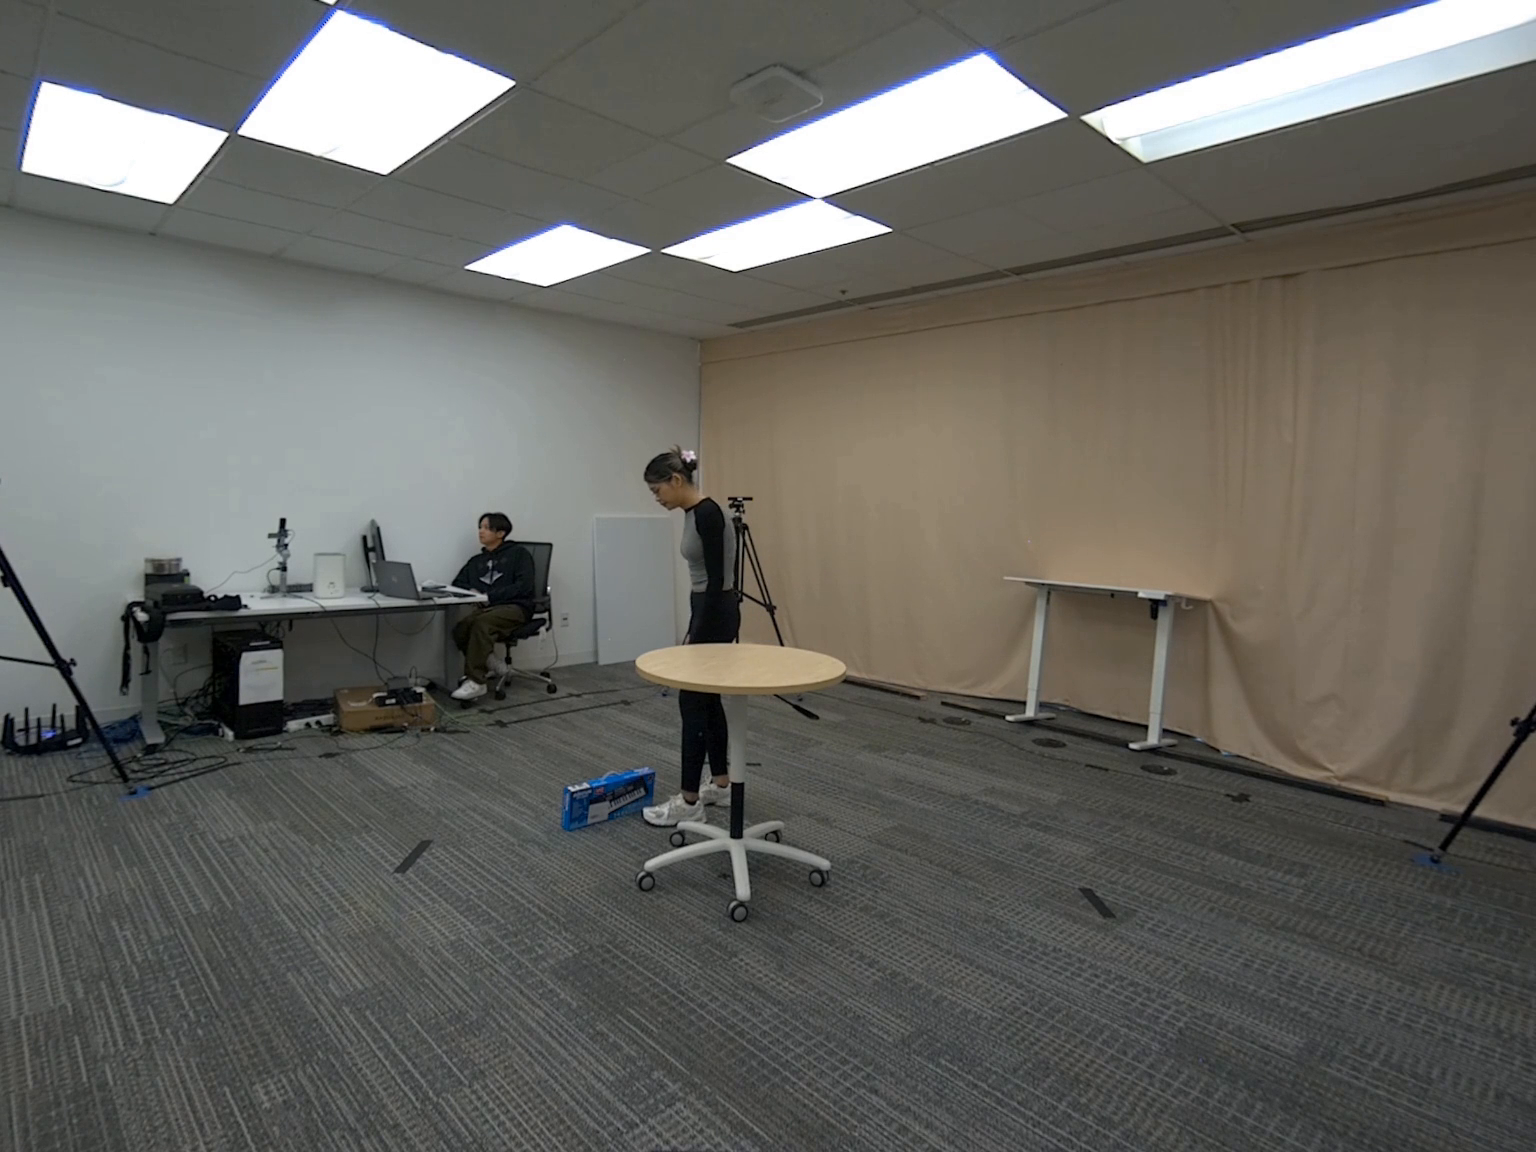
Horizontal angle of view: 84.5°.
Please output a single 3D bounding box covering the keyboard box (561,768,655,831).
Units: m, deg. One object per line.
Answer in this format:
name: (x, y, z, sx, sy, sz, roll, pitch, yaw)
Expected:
keyboard box: (-0.695, 0.962, 3.638, 0.427, 0.175, 0.061, -3, 11, -44)
